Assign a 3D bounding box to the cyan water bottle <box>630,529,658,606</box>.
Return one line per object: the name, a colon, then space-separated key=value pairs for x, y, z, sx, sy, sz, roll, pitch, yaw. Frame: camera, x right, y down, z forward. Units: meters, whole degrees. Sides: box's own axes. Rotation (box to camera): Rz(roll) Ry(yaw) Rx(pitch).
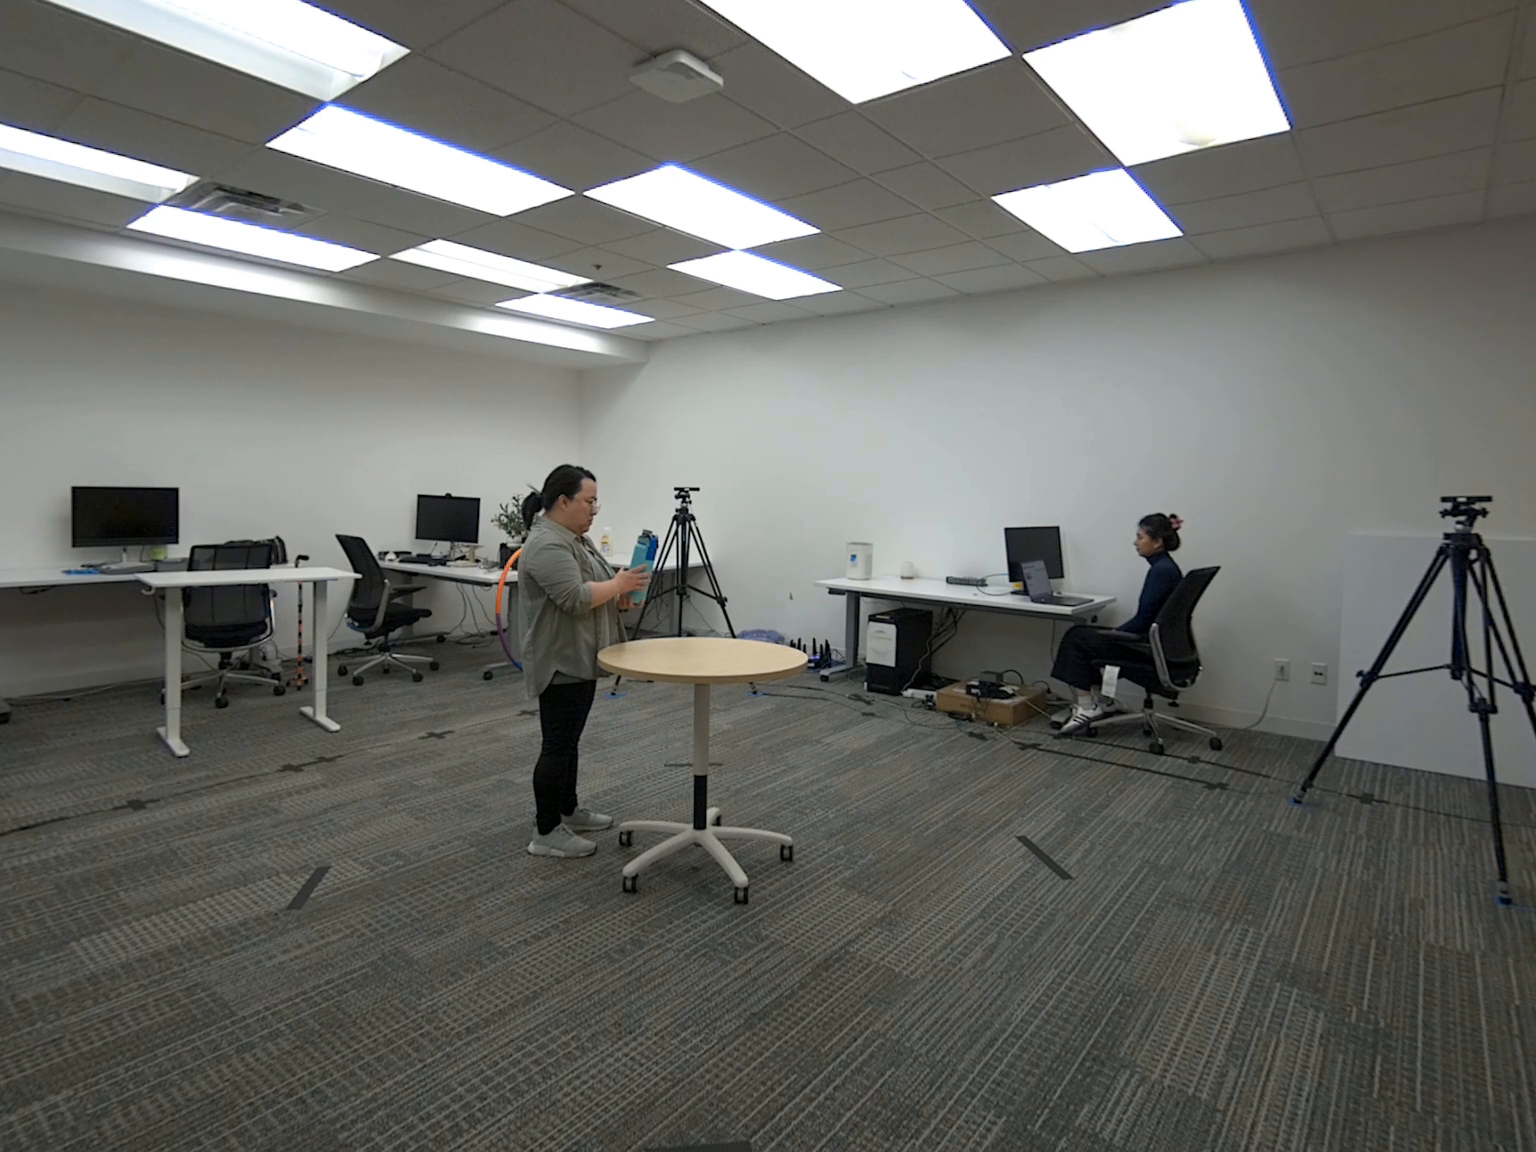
cyan water bottle: x=-0.512 y=-0.037 z=3.338 sx=0.092 sy=0.282 sz=0.093 roll=14 pitch=6 yaw=-4
